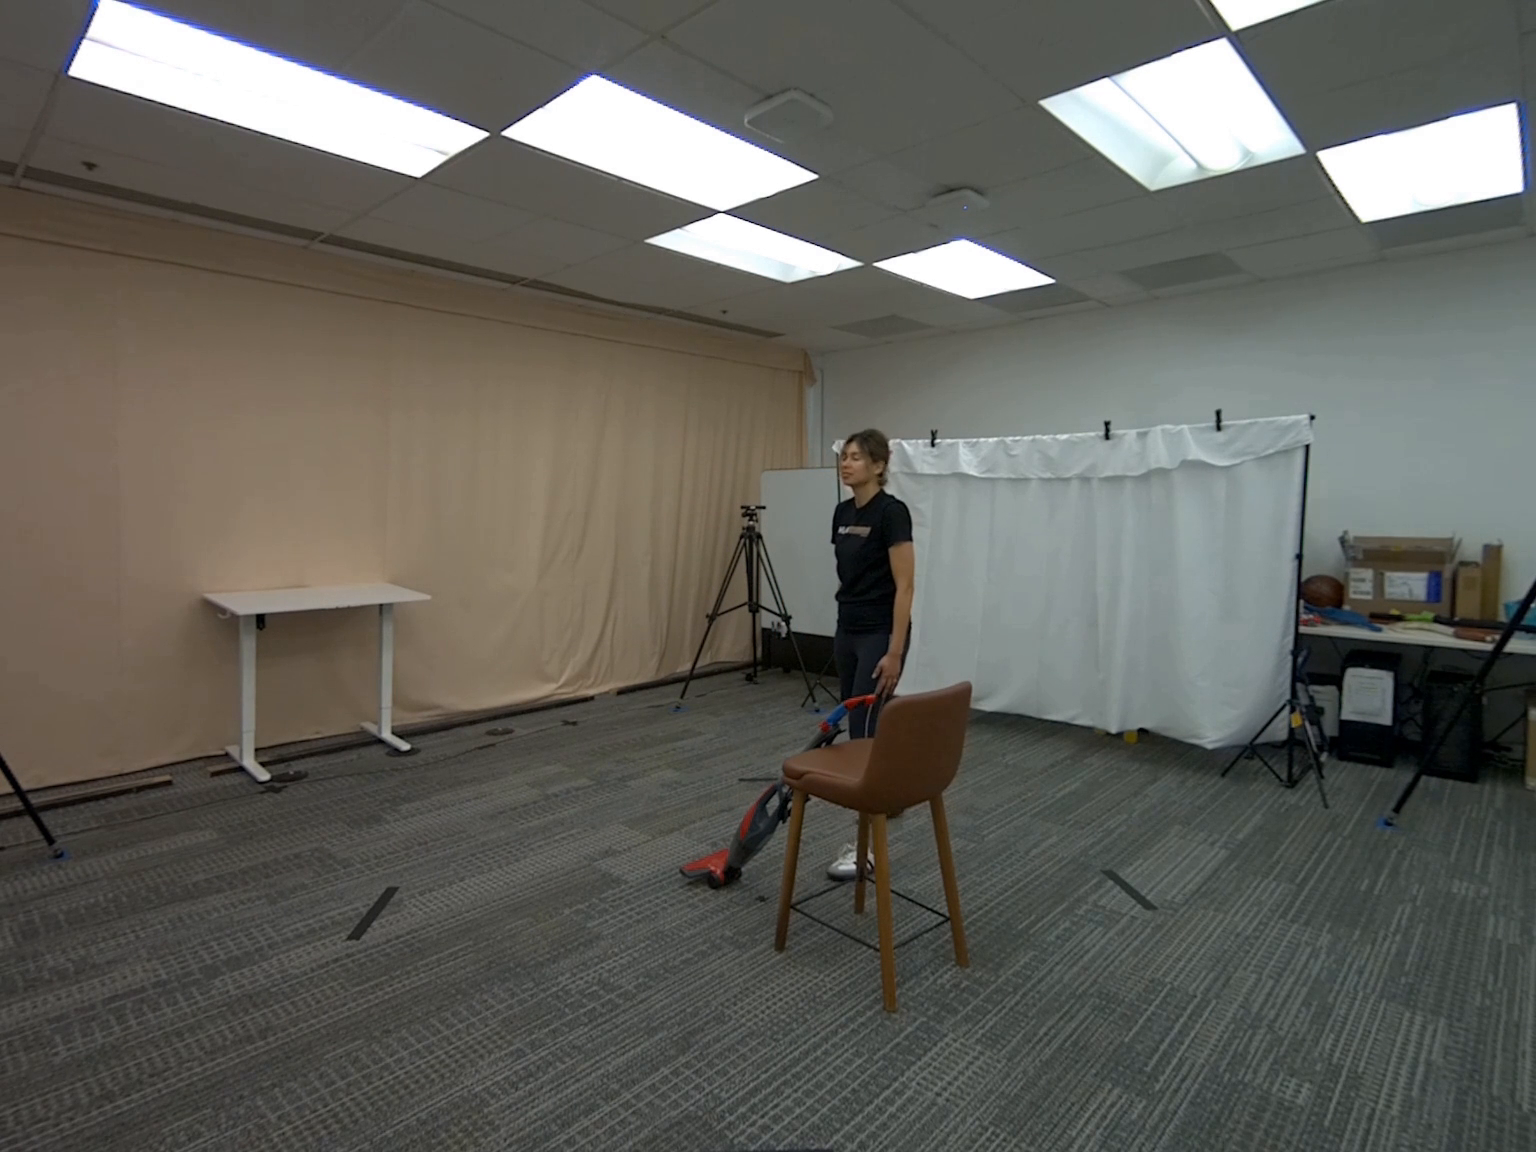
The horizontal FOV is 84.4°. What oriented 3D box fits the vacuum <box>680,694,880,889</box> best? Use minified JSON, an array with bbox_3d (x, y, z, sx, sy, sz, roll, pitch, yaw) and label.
[{"bbox_3d":[0.054,0.744,2.871,0.245,1.051,0.148,-11,53,-50],"label":"vacuum"}]
